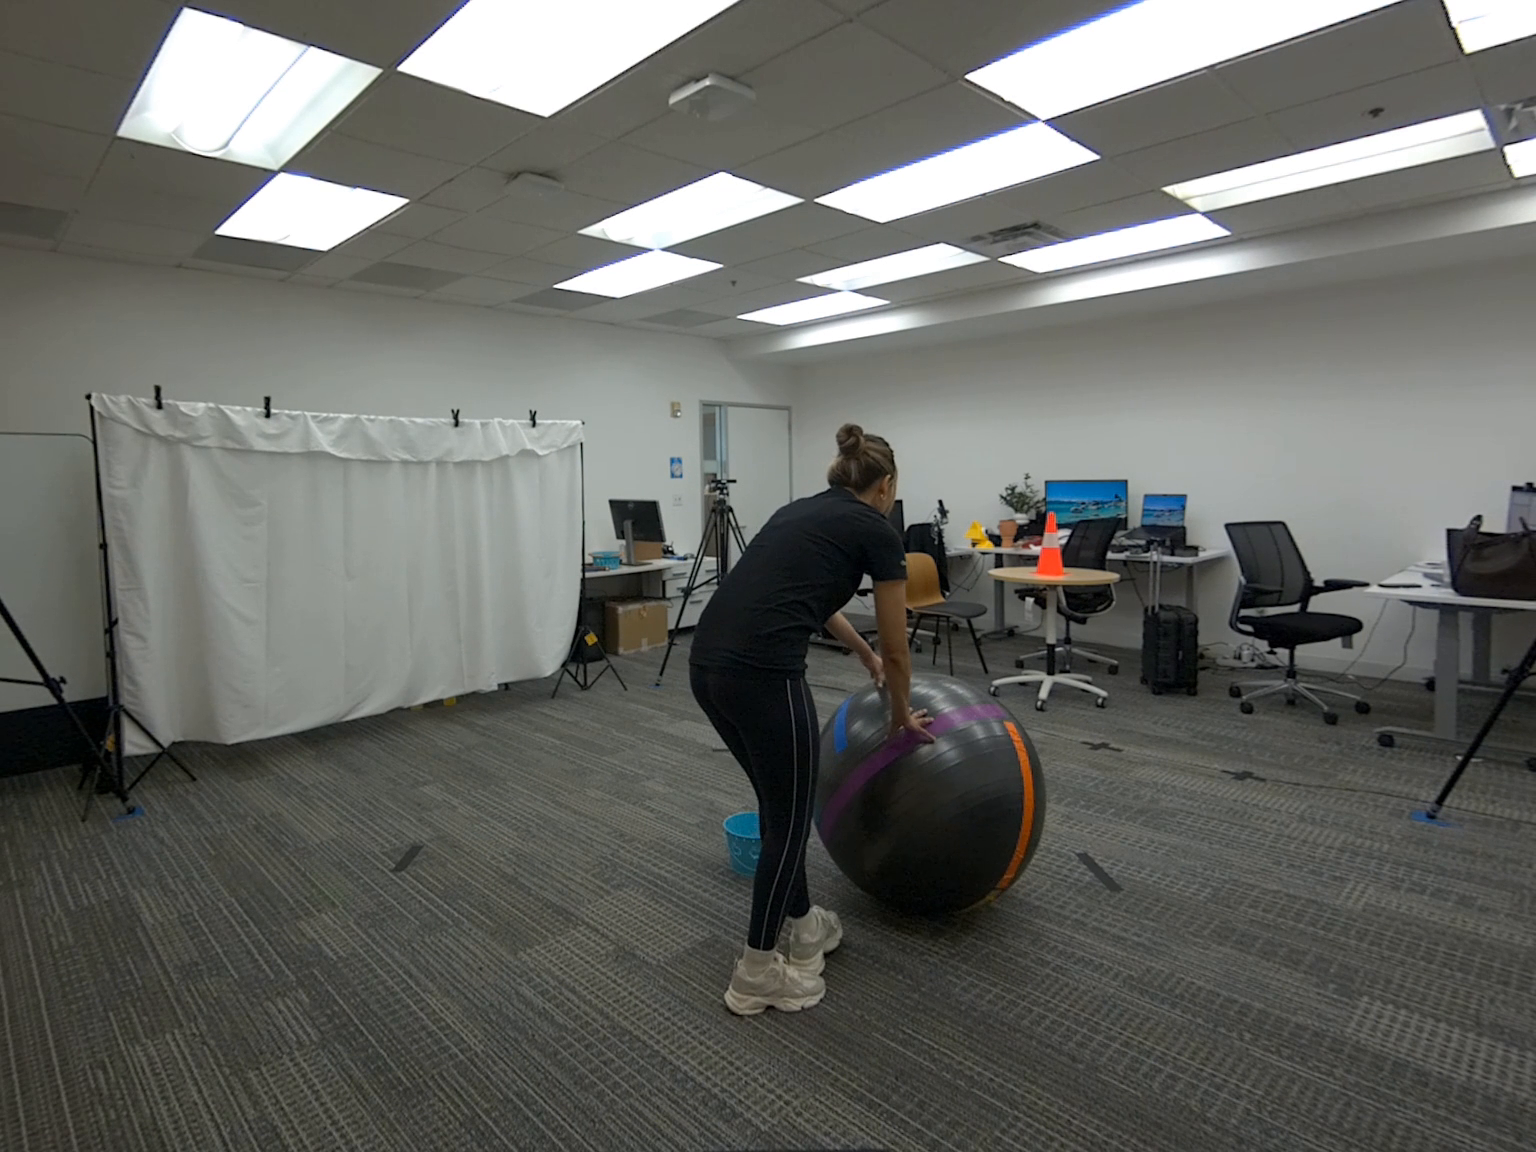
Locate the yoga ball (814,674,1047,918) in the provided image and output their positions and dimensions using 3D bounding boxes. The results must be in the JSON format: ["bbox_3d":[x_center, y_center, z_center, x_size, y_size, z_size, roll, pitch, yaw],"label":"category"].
[{"bbox_3d":[0.517,0.706,2.810,0.757,0.755,0.762,-1,5,-2],"label":"yoga ball"}]
